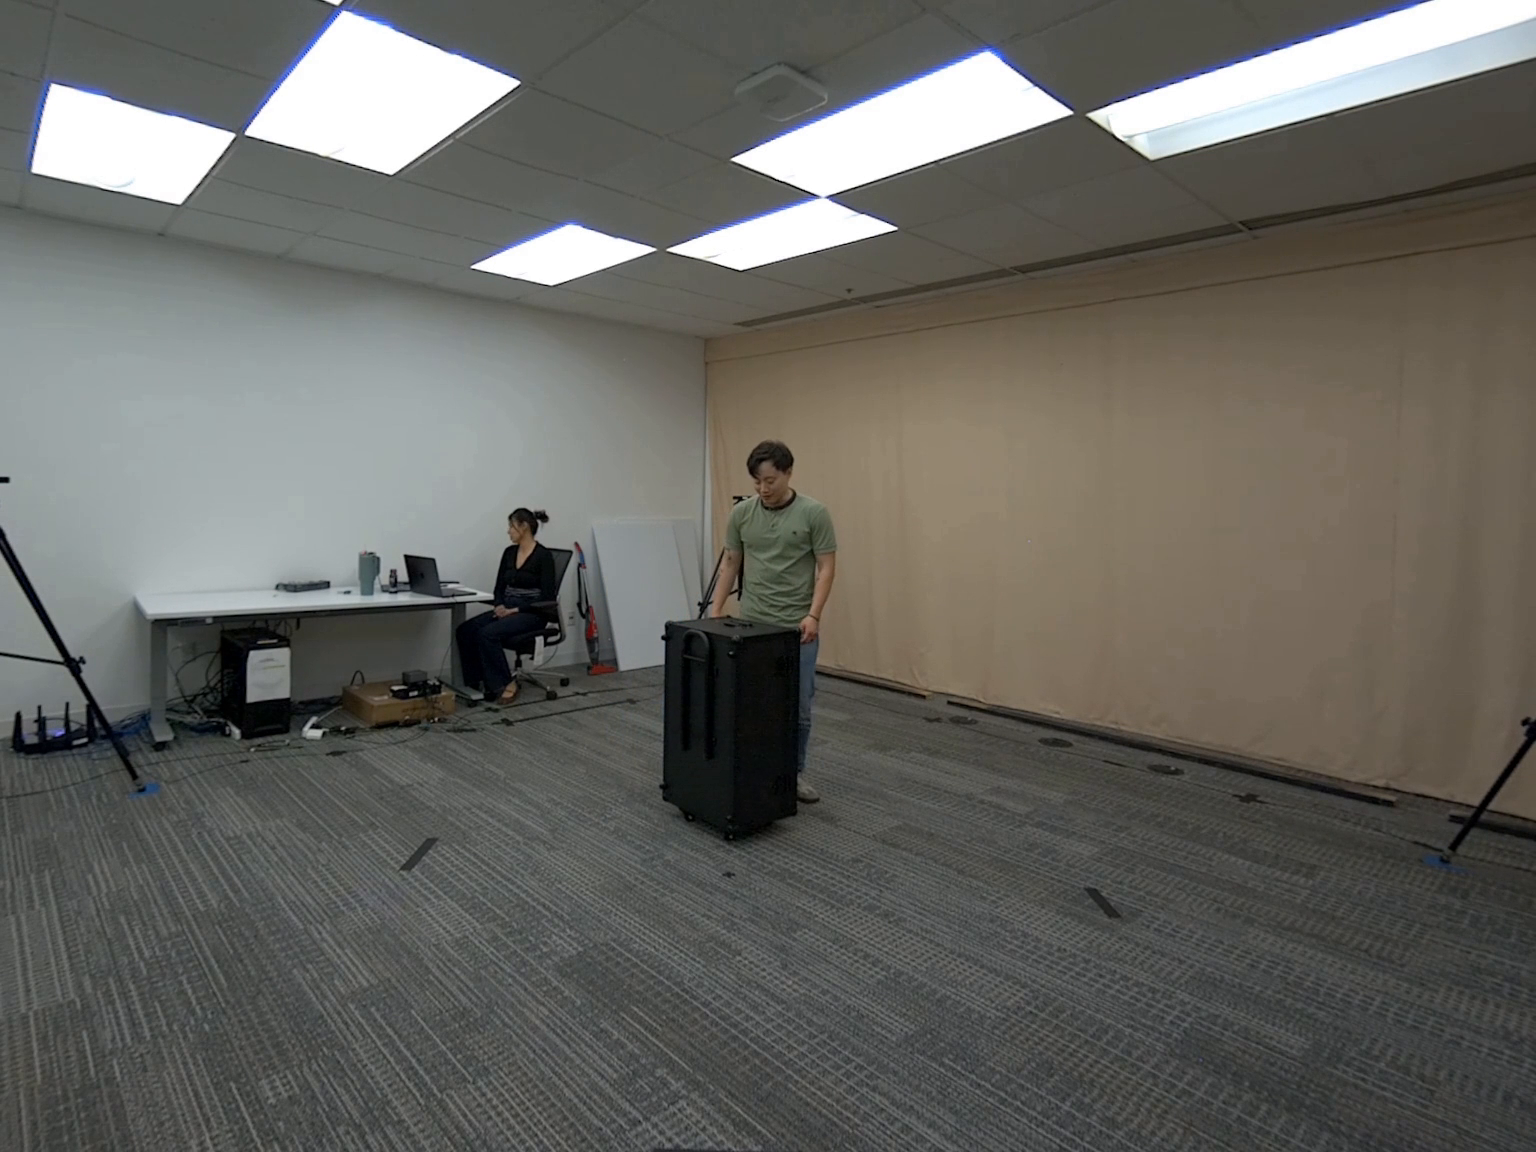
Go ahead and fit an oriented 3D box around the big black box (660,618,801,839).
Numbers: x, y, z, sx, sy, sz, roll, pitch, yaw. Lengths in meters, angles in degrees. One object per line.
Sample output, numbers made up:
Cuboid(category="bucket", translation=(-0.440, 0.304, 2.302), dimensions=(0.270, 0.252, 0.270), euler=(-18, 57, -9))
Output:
Cuboid(category="big black box", translation=(-0.176, 0.634, 3.570), dimensions=(0.387, 0.859, 0.534), euler=(-3, 6, -41))
